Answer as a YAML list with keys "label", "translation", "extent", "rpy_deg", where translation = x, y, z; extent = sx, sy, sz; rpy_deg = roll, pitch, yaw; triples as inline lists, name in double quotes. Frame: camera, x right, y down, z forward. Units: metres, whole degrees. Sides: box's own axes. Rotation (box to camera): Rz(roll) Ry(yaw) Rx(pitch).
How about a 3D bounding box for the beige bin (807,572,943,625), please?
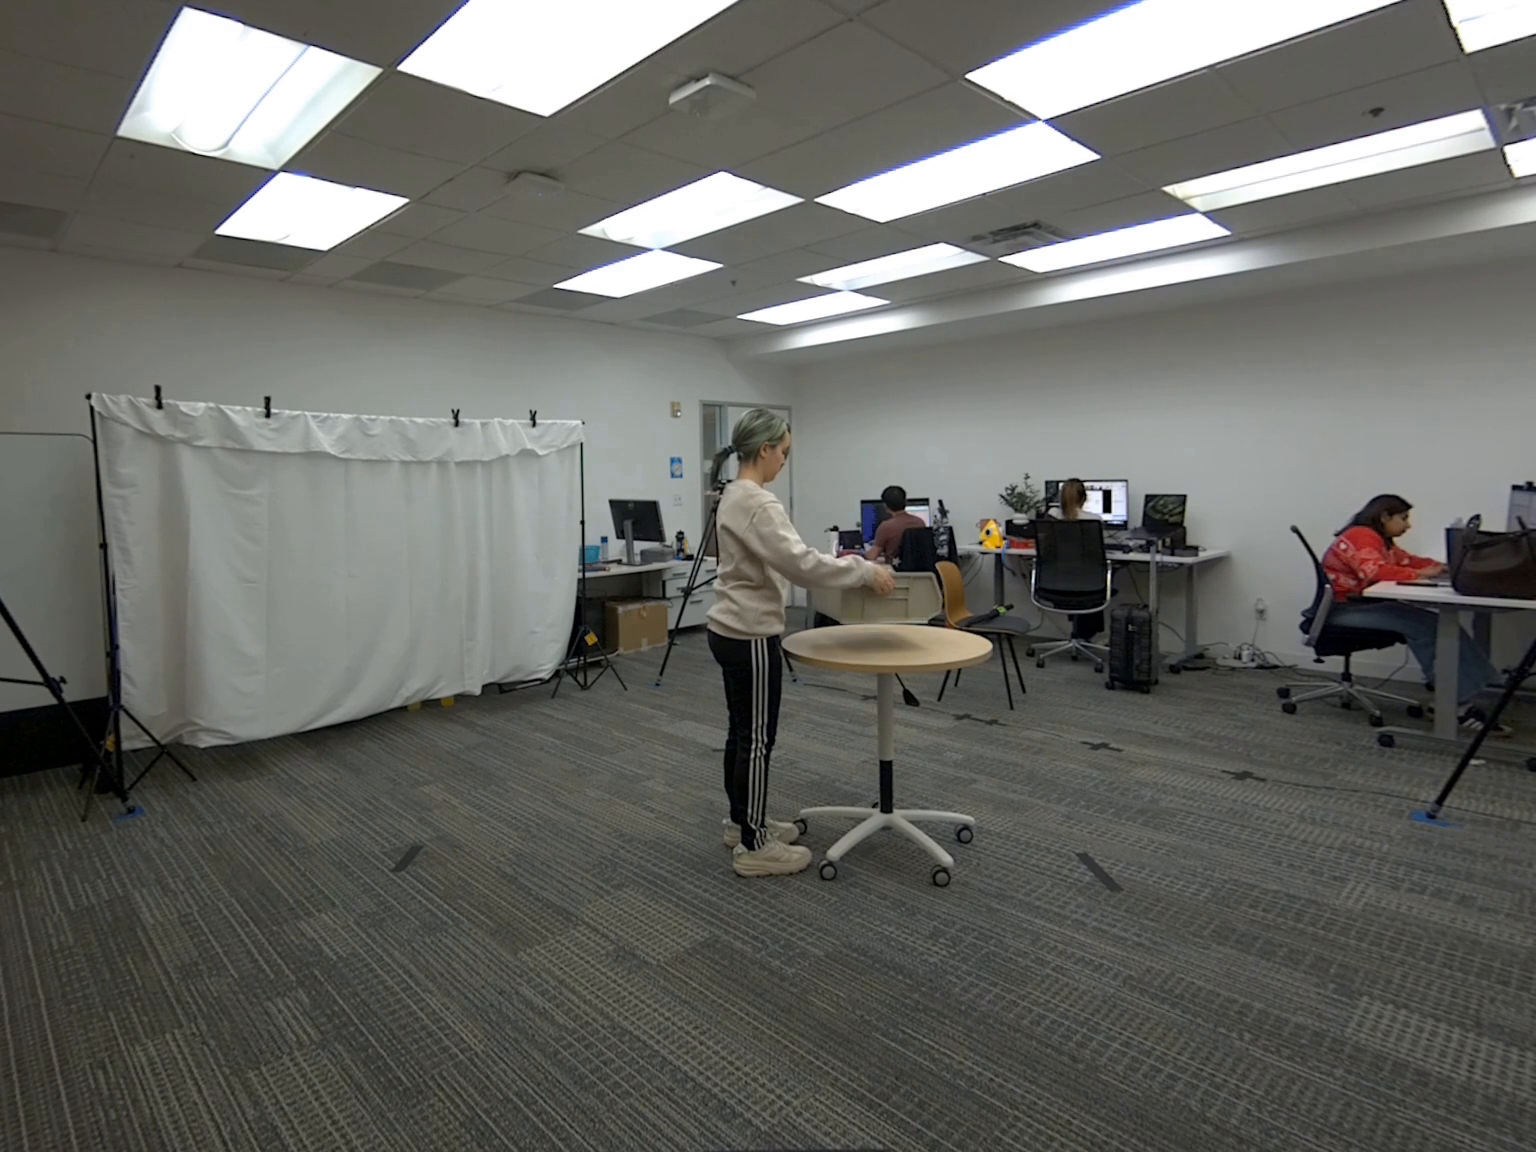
- label: "beige bin"
  translation: [0.384, 0.062, 3.170]
  extent: [0.373, 0.188, 0.428]
  rpy_deg: [-1, 4, -11]
